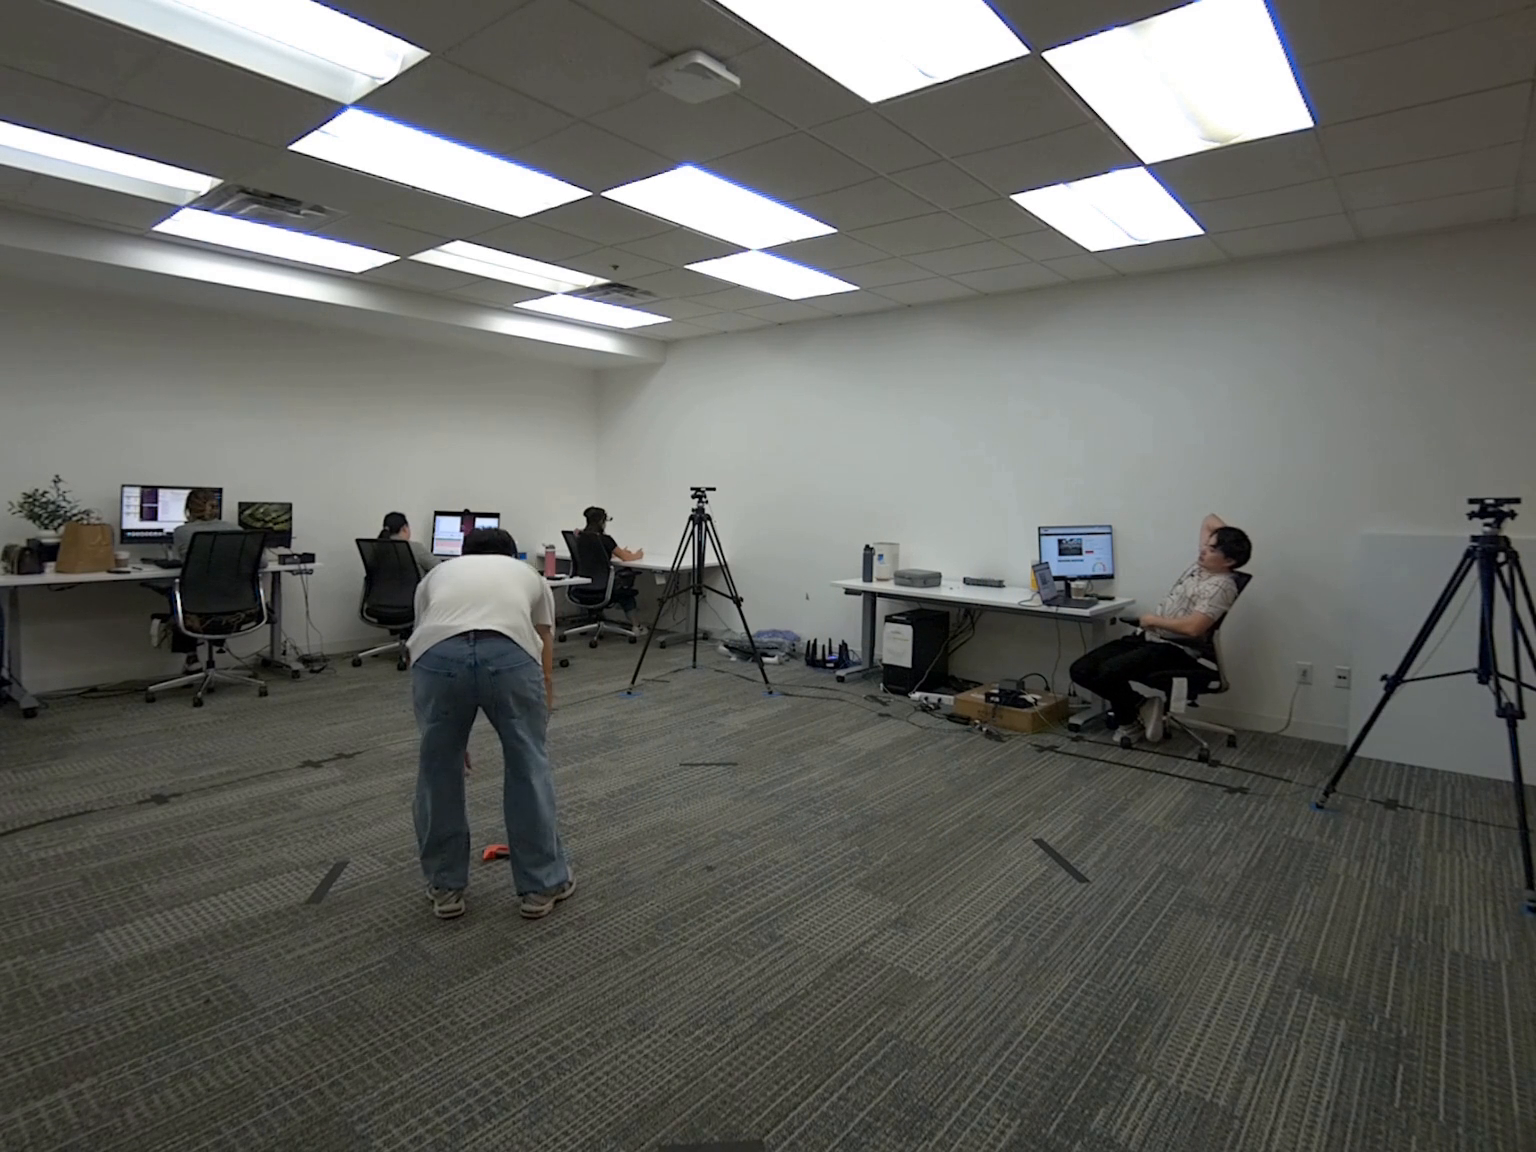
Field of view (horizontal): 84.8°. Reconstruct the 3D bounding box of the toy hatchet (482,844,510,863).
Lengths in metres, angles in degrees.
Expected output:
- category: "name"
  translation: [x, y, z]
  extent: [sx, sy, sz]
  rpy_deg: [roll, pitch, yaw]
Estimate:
- category: "toy hatchet"
  translation: [-0.940, 1.031, 3.194]
  extent: [0.267, 0.029, 0.132]
  rpy_deg: [3, 1, -11]
